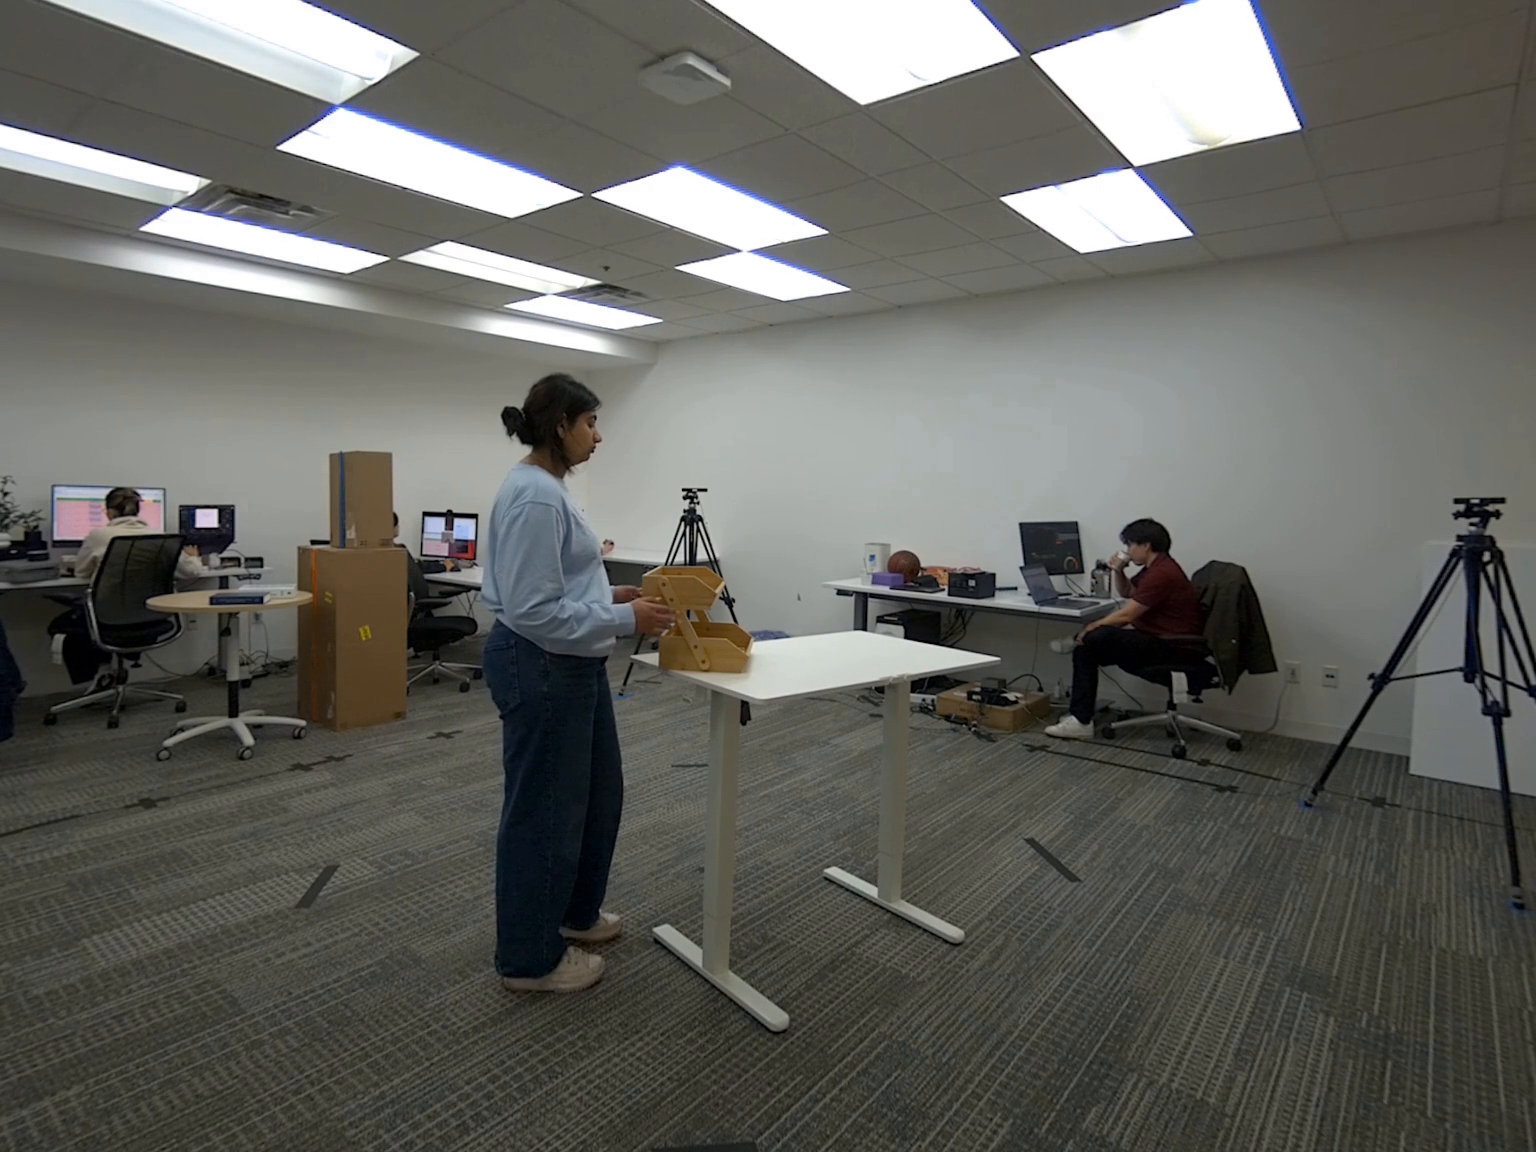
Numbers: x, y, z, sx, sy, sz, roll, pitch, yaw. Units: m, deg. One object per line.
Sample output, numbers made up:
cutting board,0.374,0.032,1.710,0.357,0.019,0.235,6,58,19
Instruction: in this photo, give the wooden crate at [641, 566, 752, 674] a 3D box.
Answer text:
wooden crate,-0.199,0.117,2.481,0.303,0.272,0.325,1,6,2
